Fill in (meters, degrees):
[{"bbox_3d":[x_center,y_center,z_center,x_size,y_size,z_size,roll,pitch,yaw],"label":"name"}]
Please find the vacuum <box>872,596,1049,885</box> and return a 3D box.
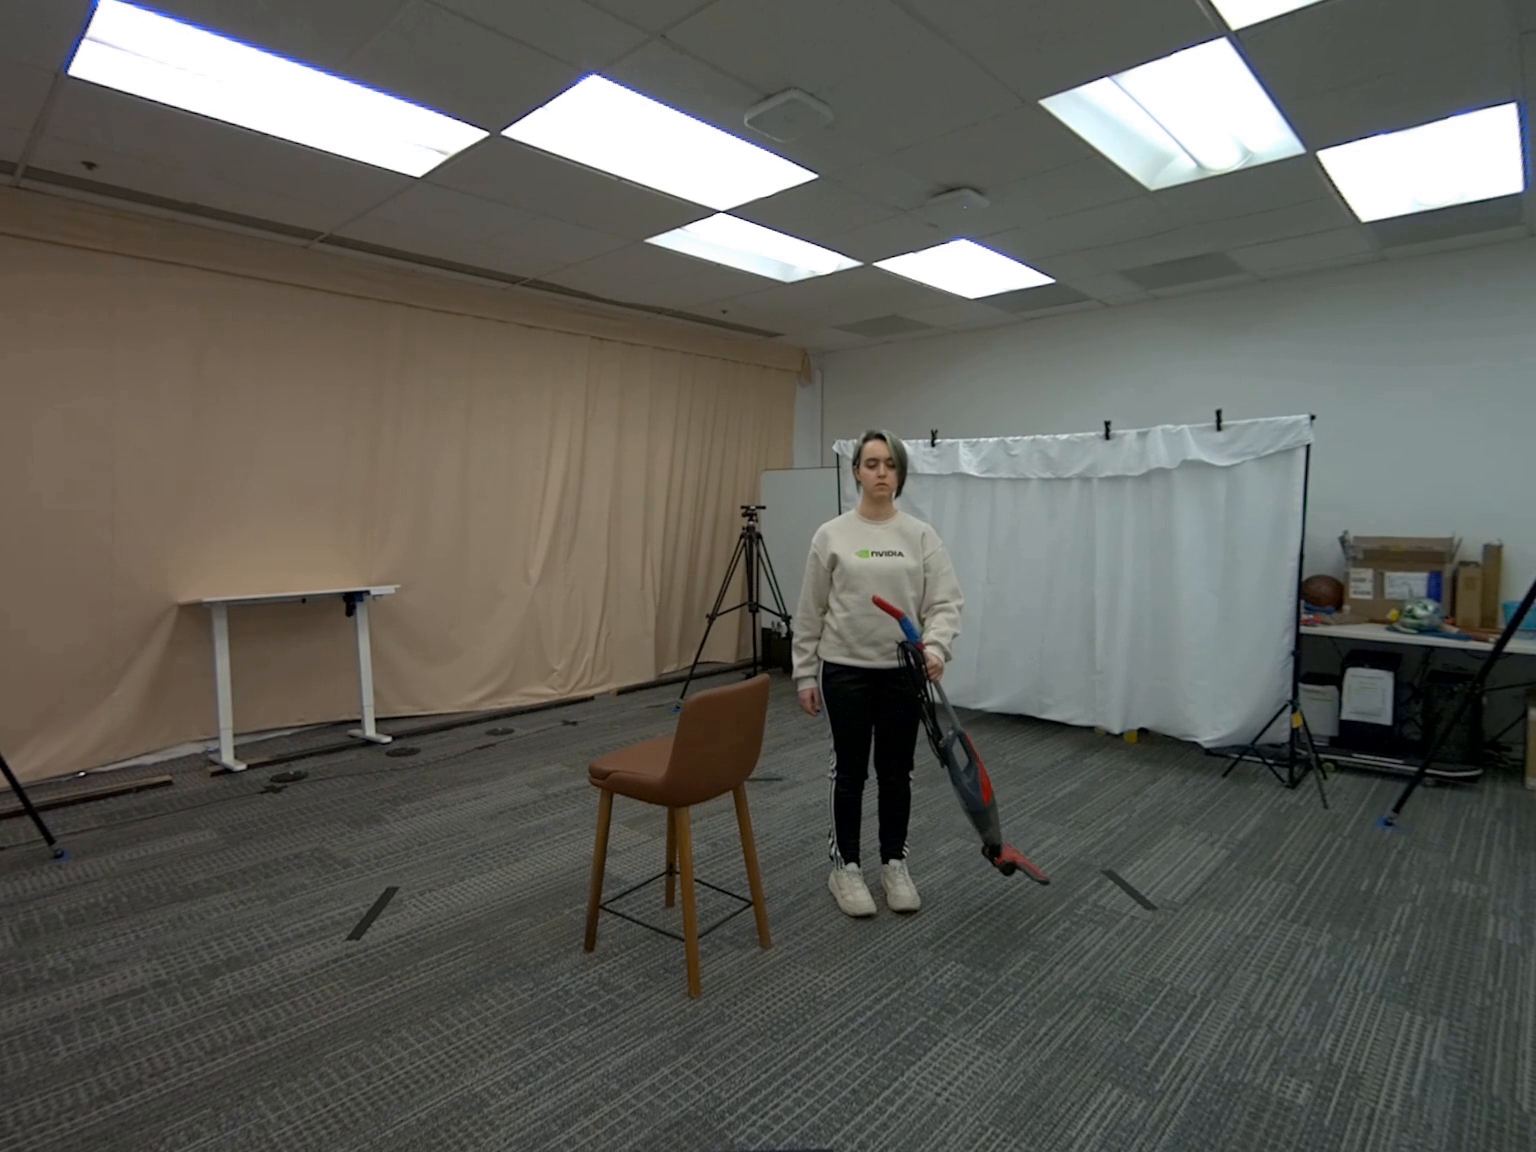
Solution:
[{"bbox_3d":[0.579,0.515,2.681,0.143,1.034,0.258,-30,15,-15],"label":"vacuum"}]
